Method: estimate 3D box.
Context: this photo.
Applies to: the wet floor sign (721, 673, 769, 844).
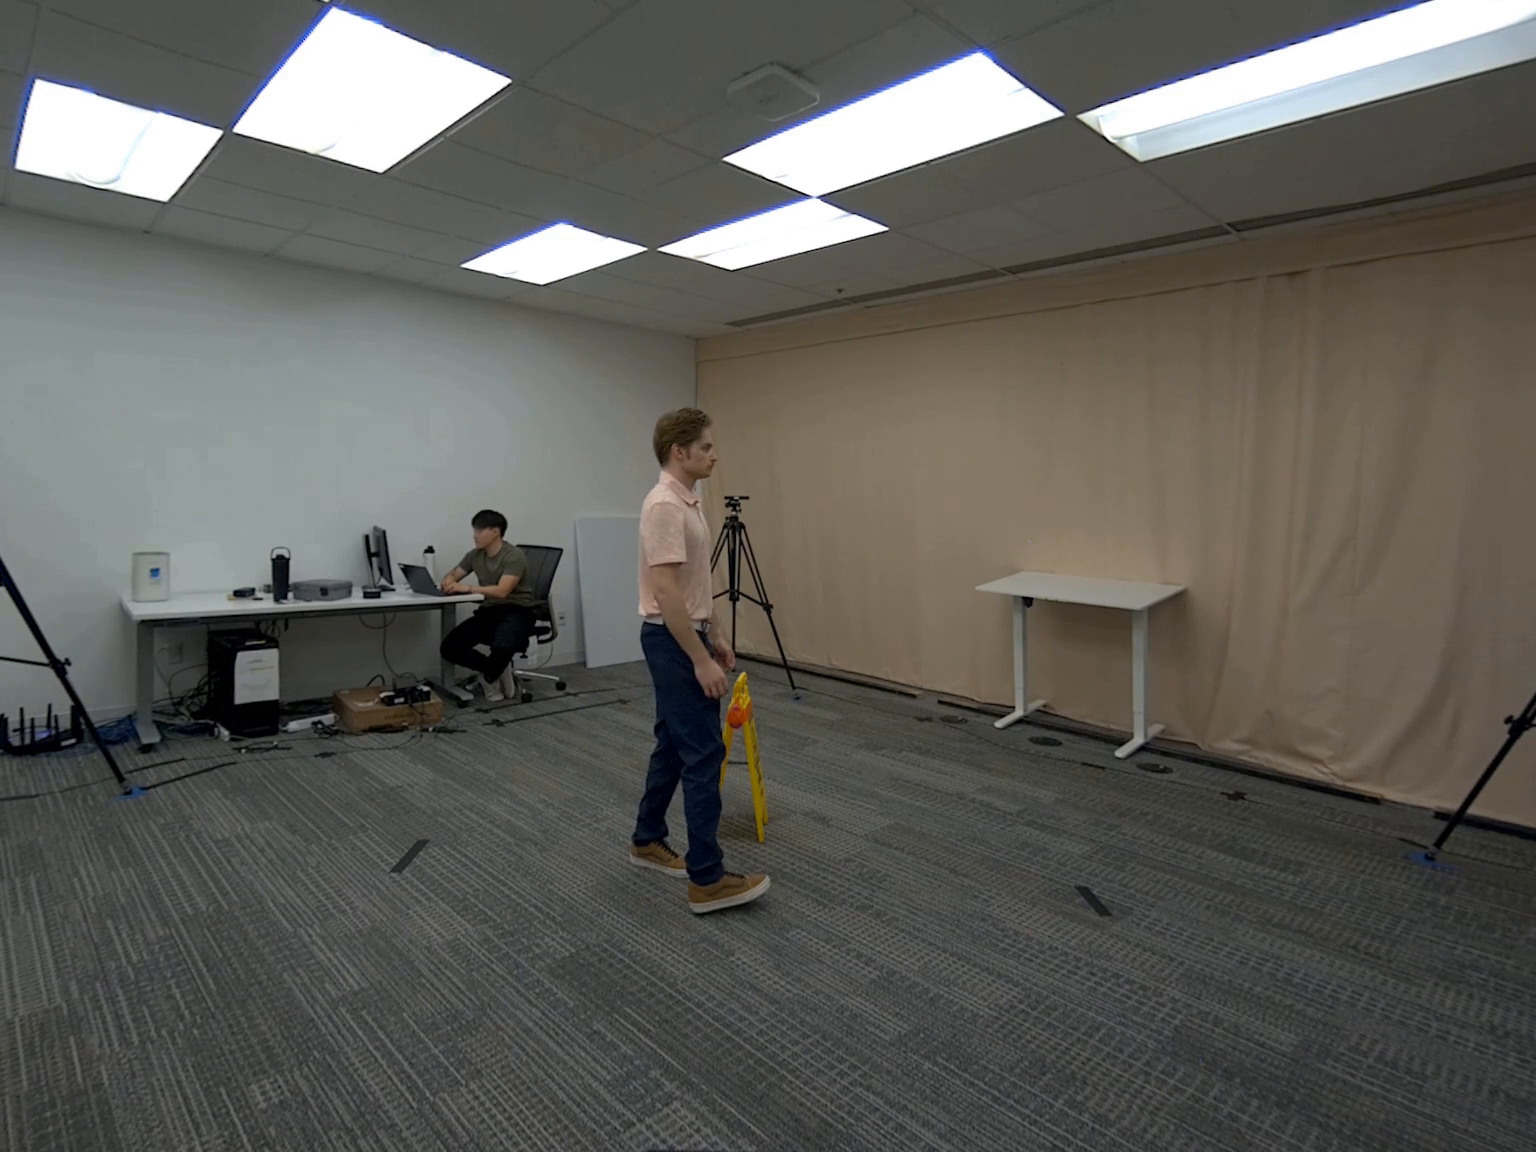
[{"bbox_3d":[-0.126,0.742,3.531,0.291,0.644,0.281,3,4,6],"label":"wet floor sign"}]
